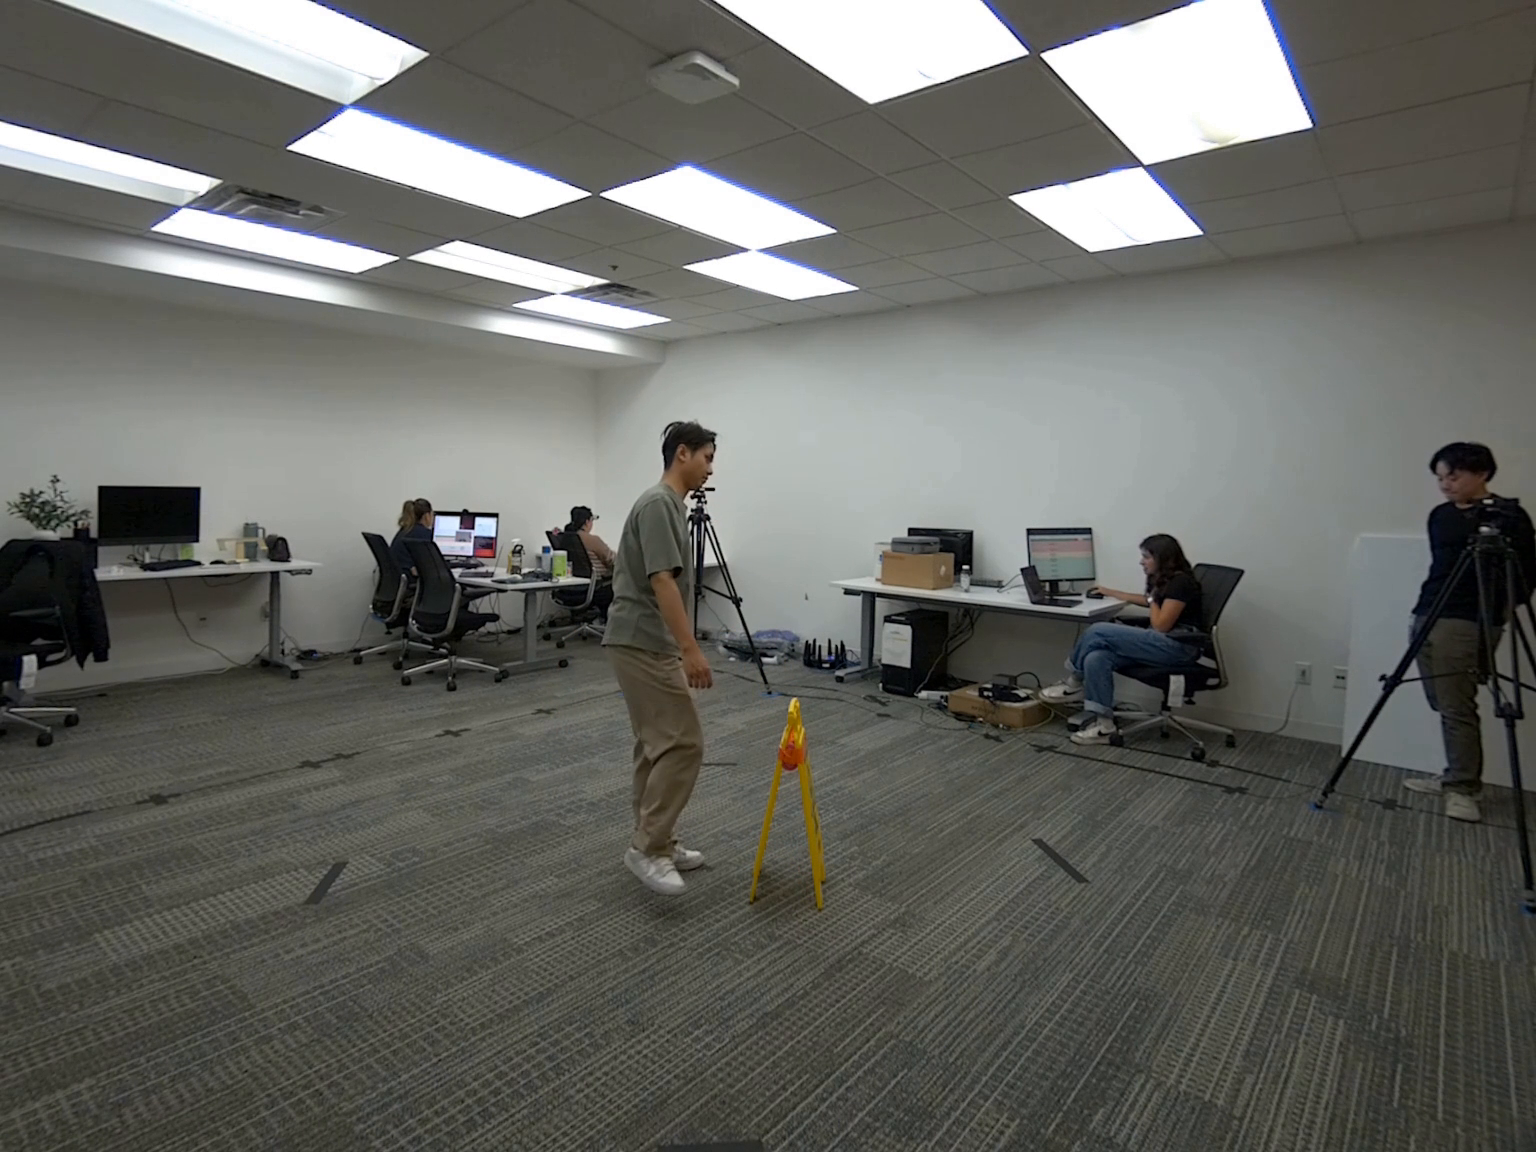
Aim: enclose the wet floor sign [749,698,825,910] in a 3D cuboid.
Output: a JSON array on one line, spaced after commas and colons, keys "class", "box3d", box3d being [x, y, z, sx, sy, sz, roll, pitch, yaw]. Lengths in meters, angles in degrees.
[{"class": "wet floor sign", "box3d": [0.075, 0.769, 2.955, 0.292, 0.644, 0.281, 3, 4, 6]}]
